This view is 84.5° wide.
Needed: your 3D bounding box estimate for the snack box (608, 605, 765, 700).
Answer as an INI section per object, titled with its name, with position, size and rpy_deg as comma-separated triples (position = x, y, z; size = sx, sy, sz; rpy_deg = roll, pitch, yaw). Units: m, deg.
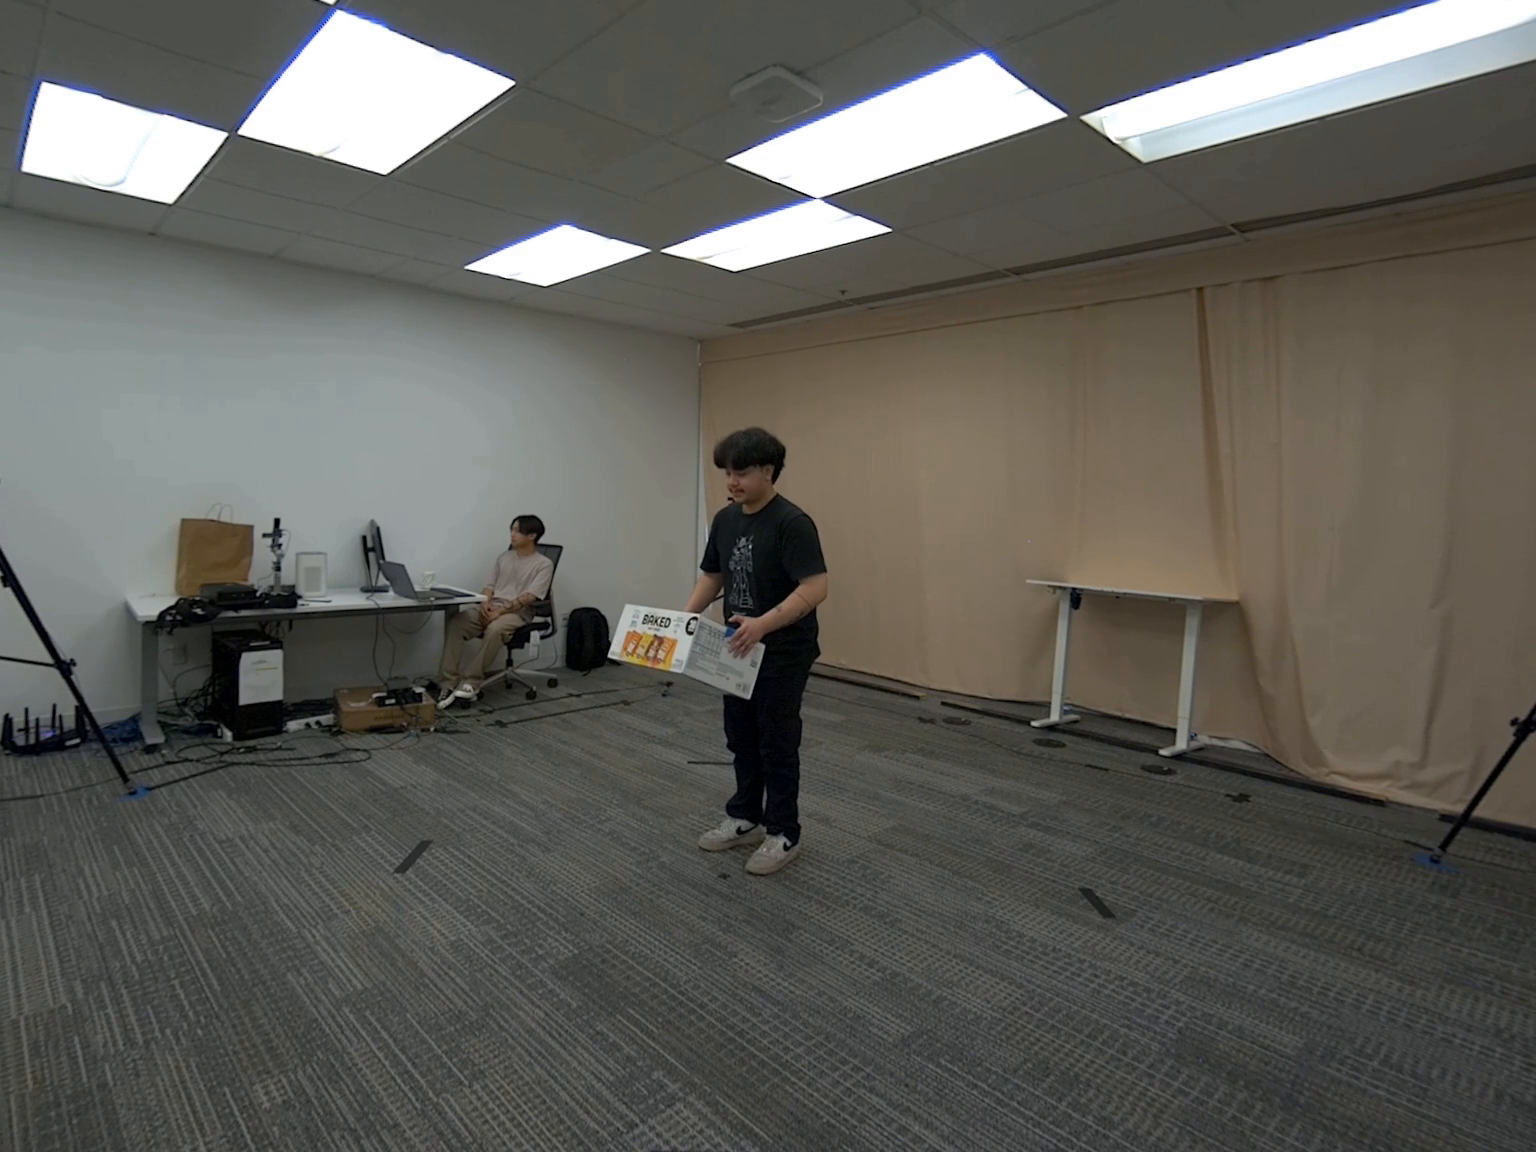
[snack box]
position = -0.293, 0.267, 2.965
size = 0.415, 0.207, 0.330
rpy_deg = 5, -17, 45
